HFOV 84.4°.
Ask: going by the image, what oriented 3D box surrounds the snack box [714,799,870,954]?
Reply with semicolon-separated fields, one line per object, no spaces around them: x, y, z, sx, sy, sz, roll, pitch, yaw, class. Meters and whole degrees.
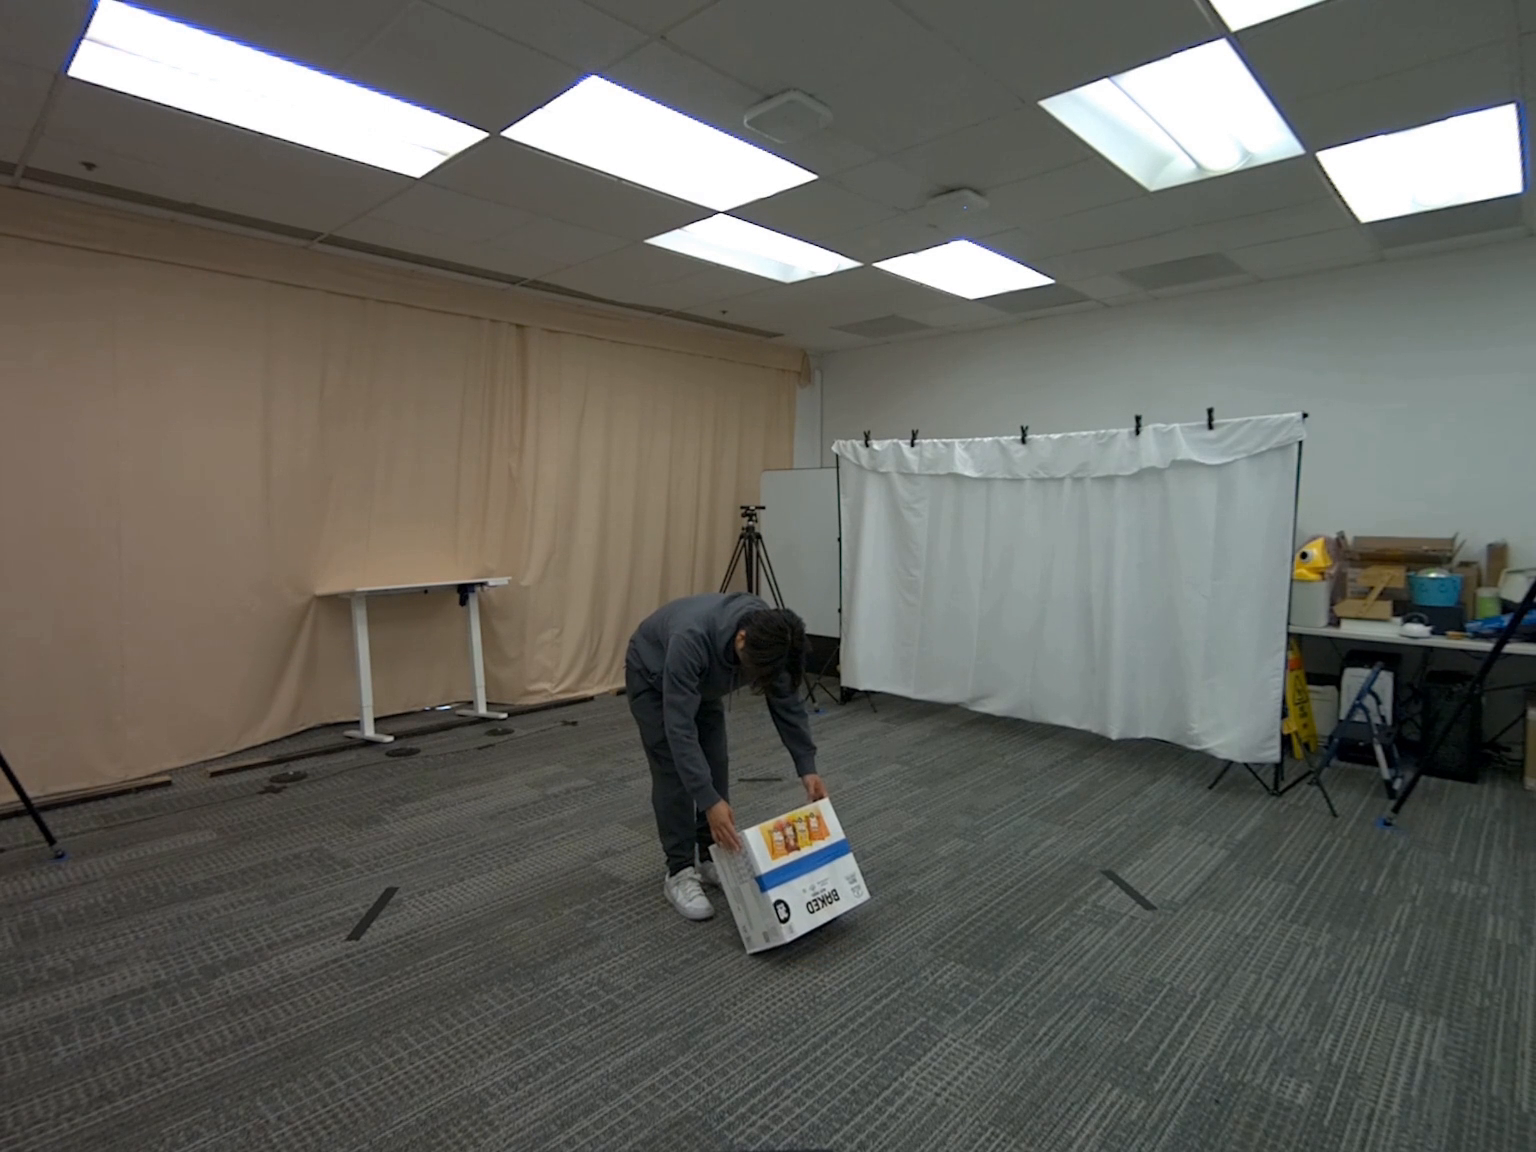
0.074;0.967;2.739;0.393;0.347;0.208;-6;-26;-42;snack box
